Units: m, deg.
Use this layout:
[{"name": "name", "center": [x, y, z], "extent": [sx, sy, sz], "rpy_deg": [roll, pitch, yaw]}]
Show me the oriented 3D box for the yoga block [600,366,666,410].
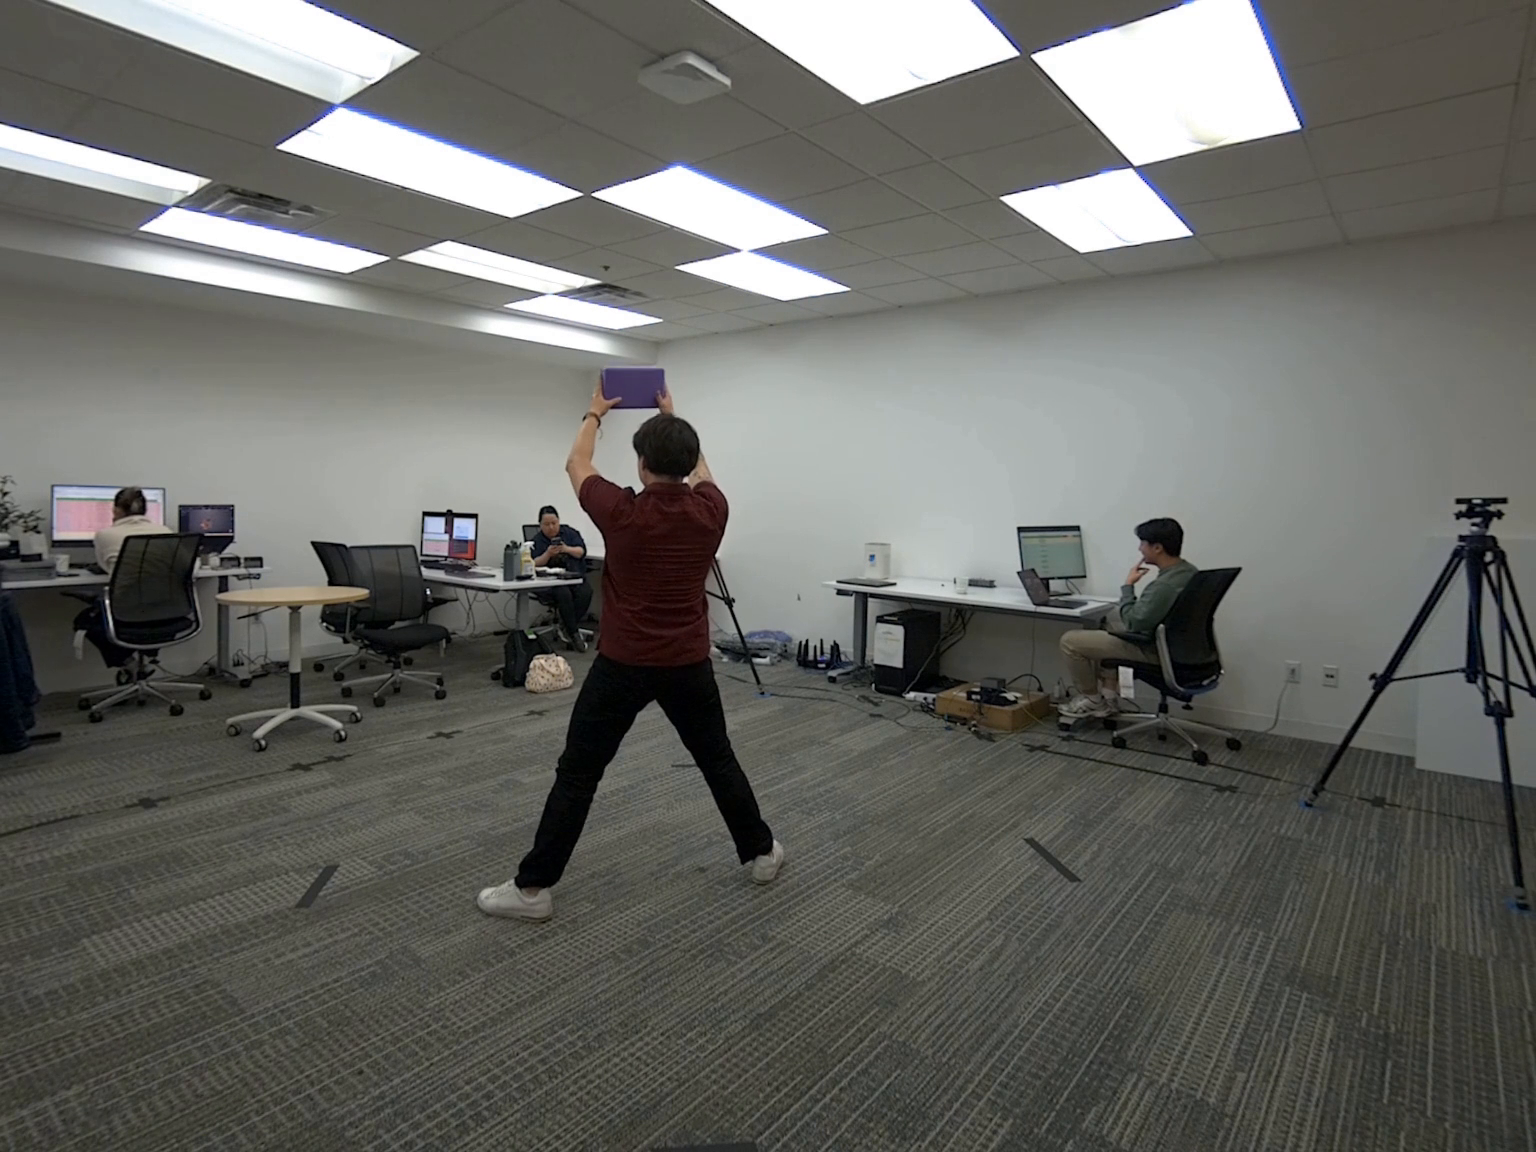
[{"name": "yoga block", "center": [-0.508, -0.692, 3.124], "extent": [0.224, 0.147, 0.079], "rpy_deg": [-5, 19, -24]}]
